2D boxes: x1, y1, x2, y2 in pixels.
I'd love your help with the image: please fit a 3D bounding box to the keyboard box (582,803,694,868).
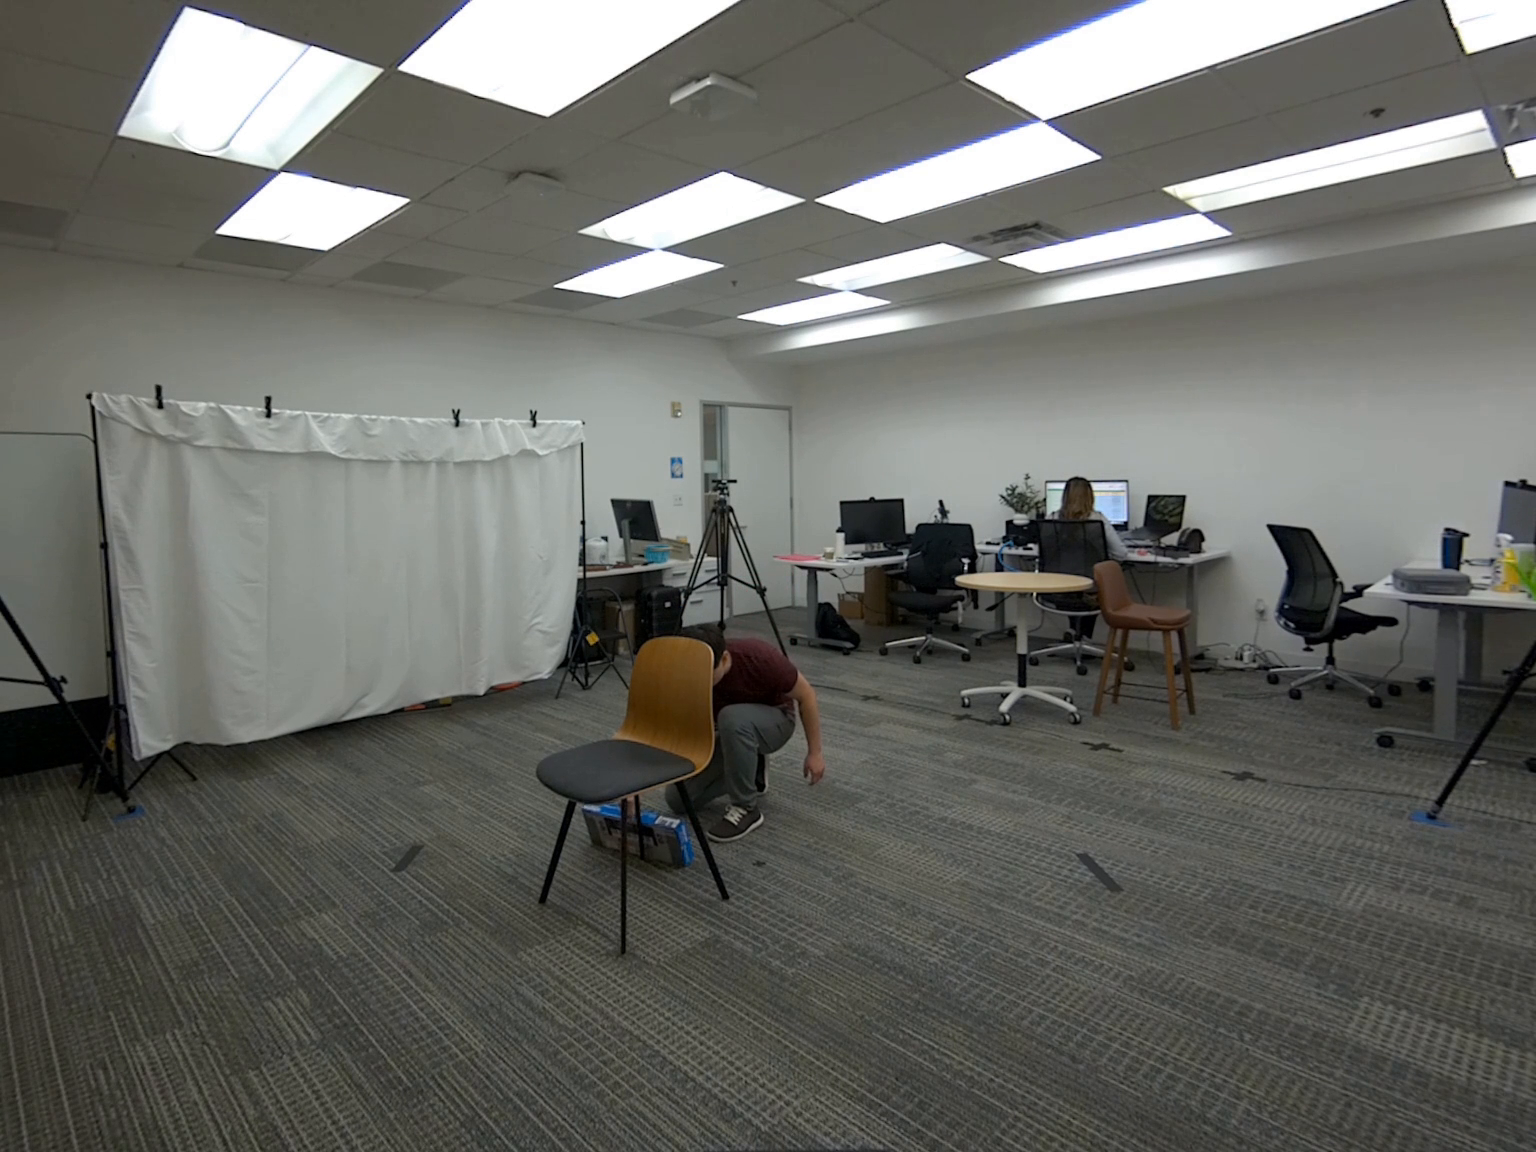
[{"bbox_3d":[-0.490,0.958,3.195,0.448,0.172,0.059,2,25,30],"label":"keyboard box"}]
